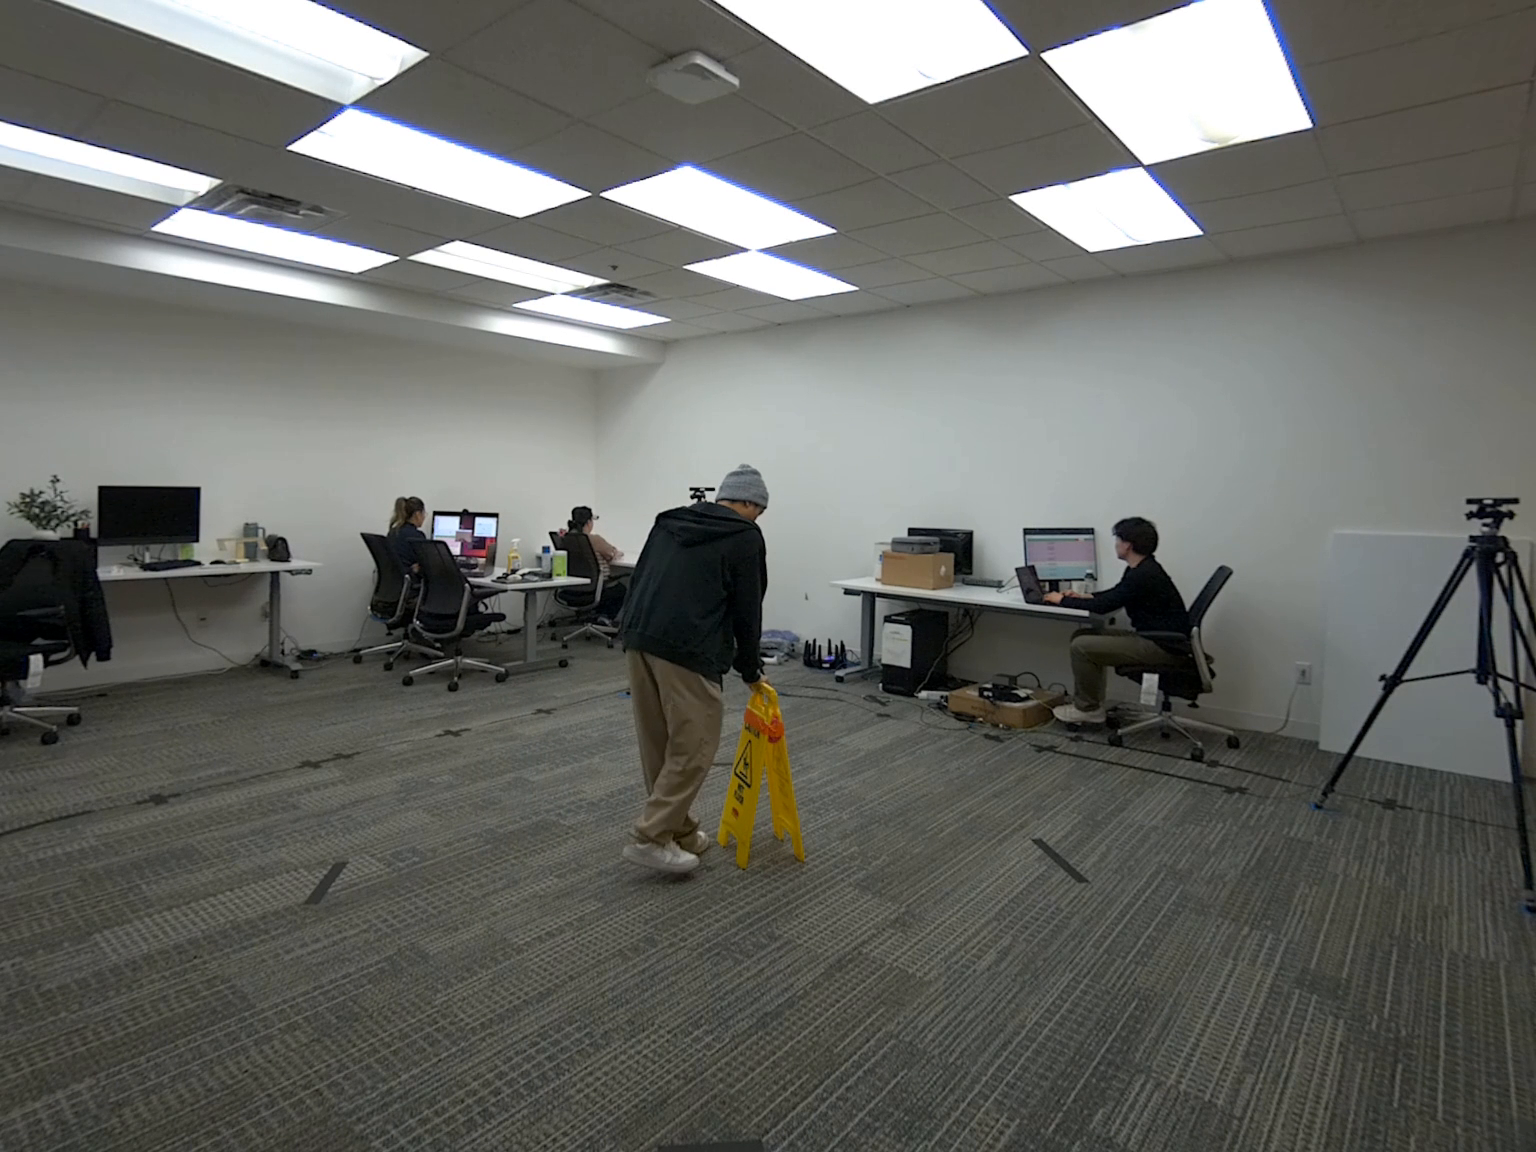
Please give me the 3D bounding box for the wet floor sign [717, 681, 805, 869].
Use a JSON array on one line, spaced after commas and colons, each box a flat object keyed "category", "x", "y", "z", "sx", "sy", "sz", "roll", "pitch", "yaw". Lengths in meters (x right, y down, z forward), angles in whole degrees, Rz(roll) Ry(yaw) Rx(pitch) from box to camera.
[{"category": "wet floor sign", "x": -0.029, "y": 0.729, "z": 3.259, "sx": 0.284, "sy": 0.644, "sz": 0.289, "roll": 2, "pitch": 4, "yaw": -21}]
